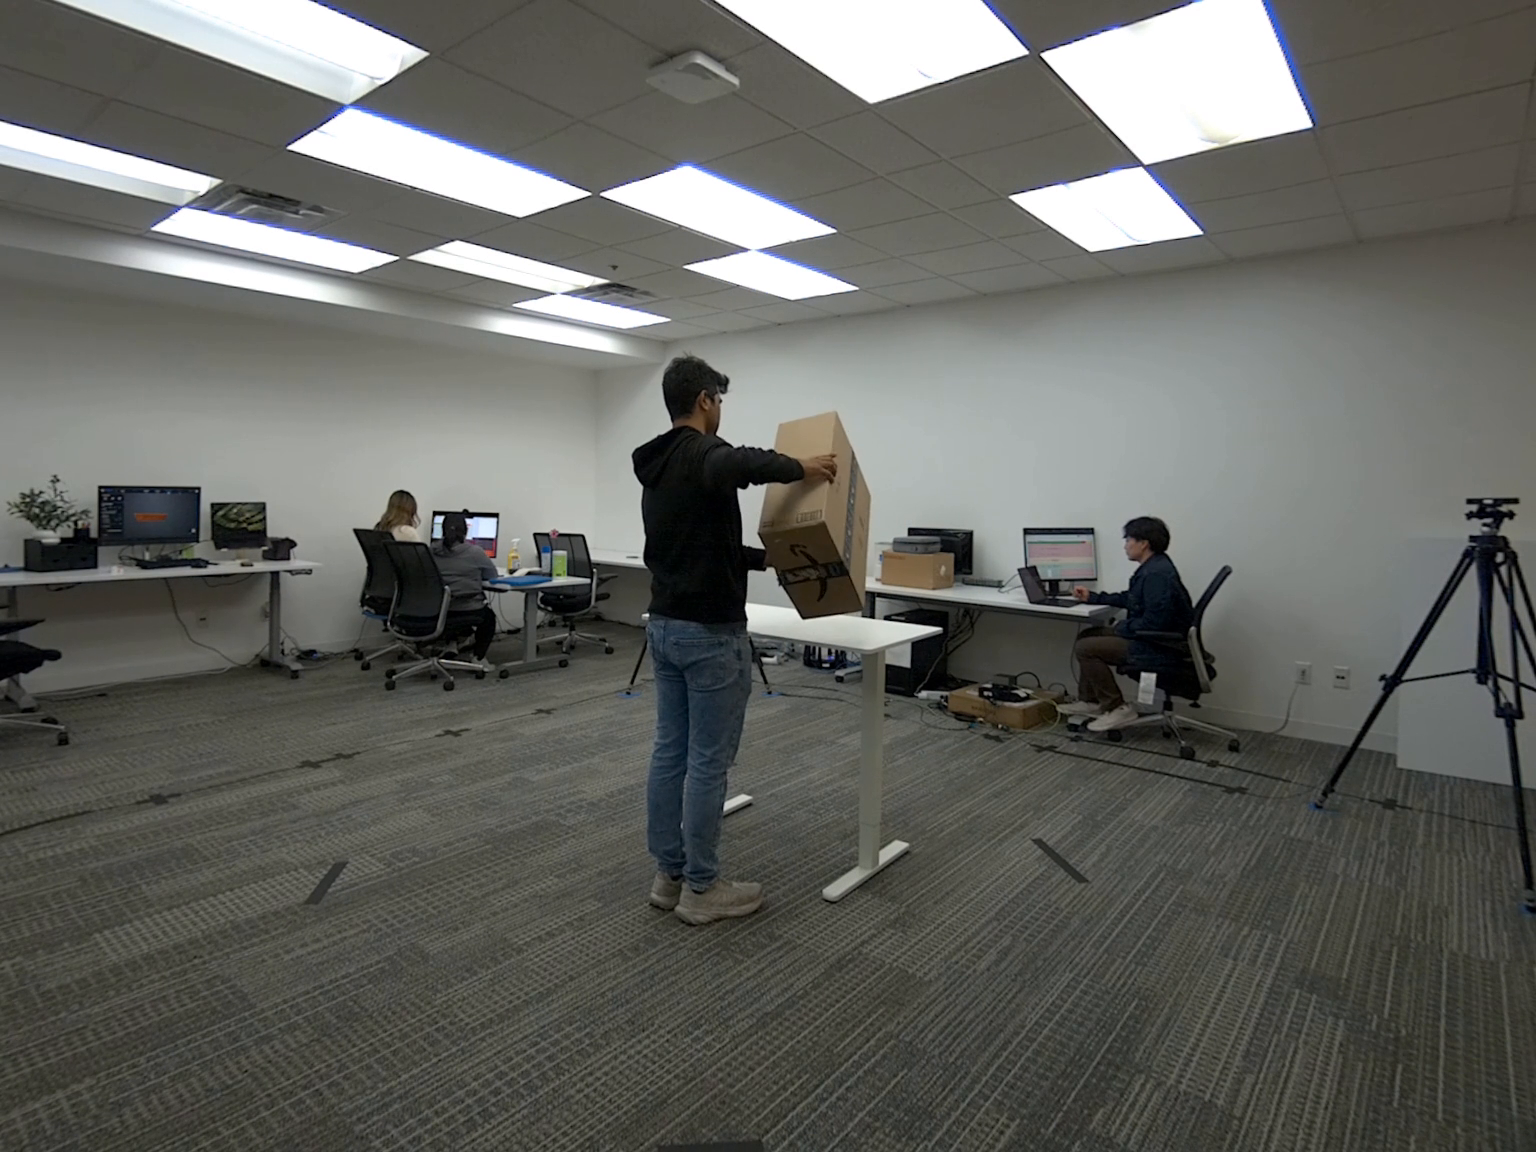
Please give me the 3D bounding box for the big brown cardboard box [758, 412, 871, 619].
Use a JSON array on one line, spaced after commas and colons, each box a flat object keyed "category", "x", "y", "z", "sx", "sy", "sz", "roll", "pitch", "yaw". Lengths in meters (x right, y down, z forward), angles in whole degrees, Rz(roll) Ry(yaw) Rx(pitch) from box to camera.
[{"category": "big brown cardboard box", "x": 0.164, "y": -0.209, "z": 2.865, "sx": 0.237, "sy": 0.401, "sz": 0.601, "roll": -10, "pitch": 42, "yaw": 21}]
